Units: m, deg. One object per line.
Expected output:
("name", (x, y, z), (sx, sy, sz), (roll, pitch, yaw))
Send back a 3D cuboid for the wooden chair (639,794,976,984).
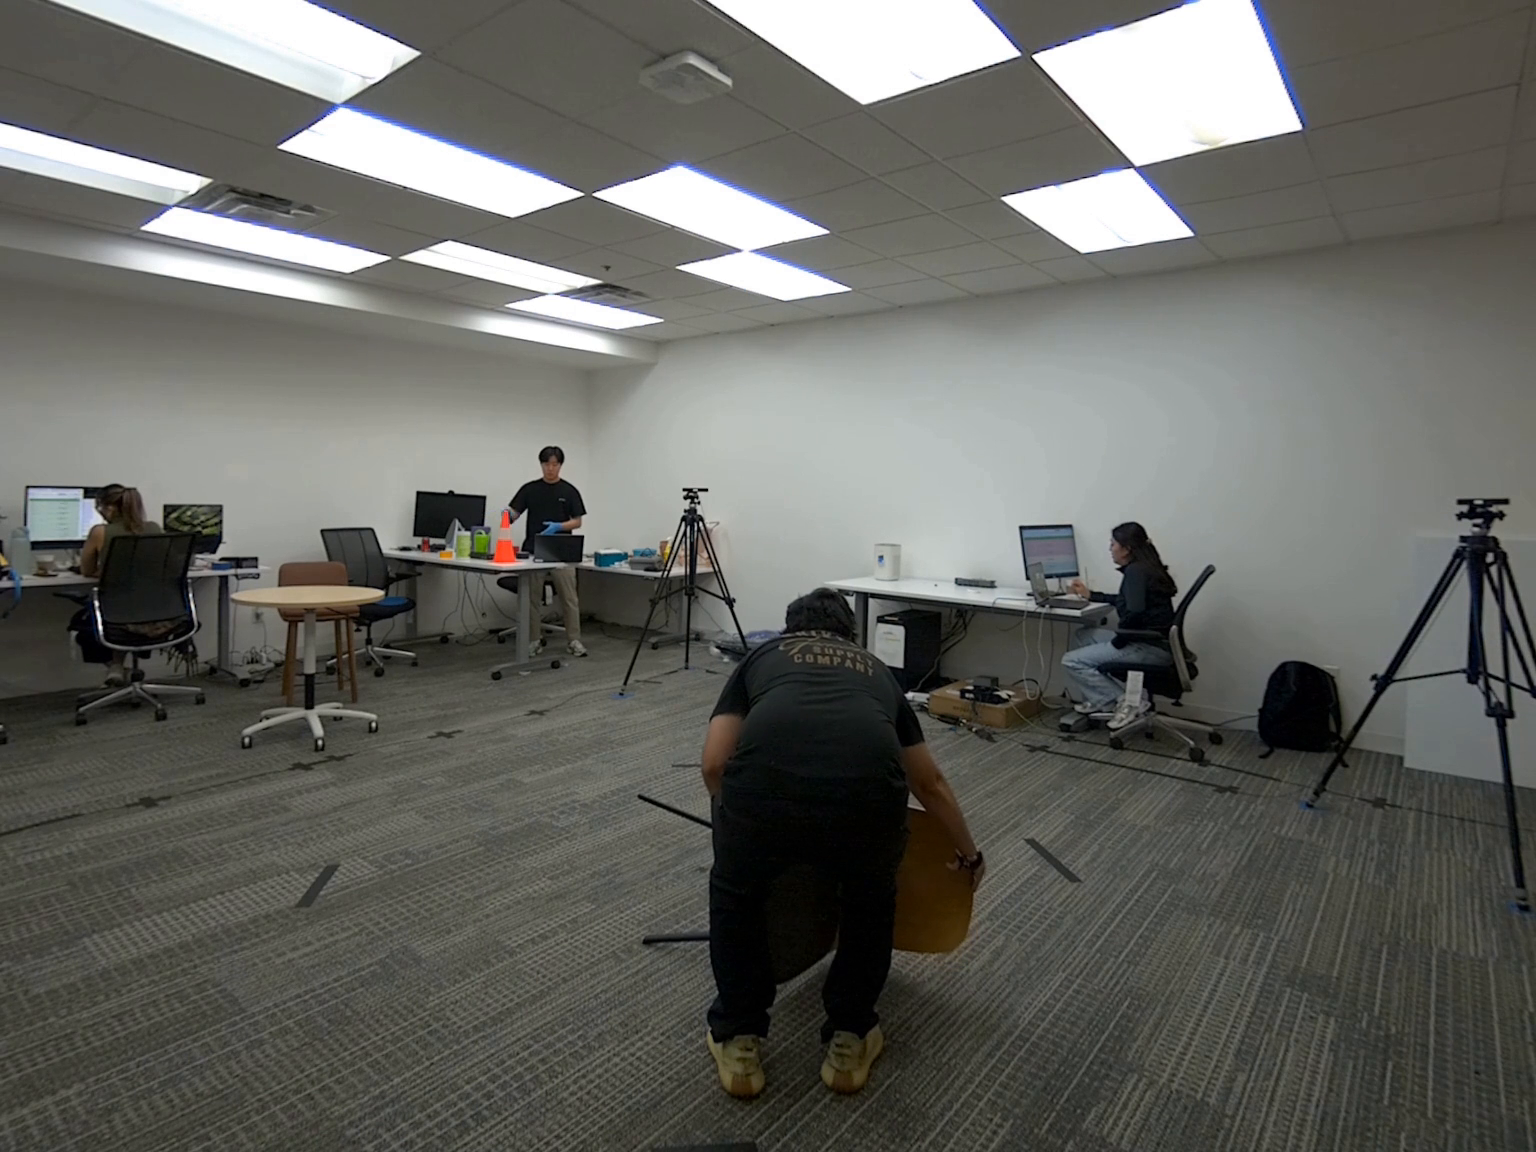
("wooden chair", (0.078, 0.881, 2.472), (0.904, 0.477, 0.508), (1, 3, 34))
